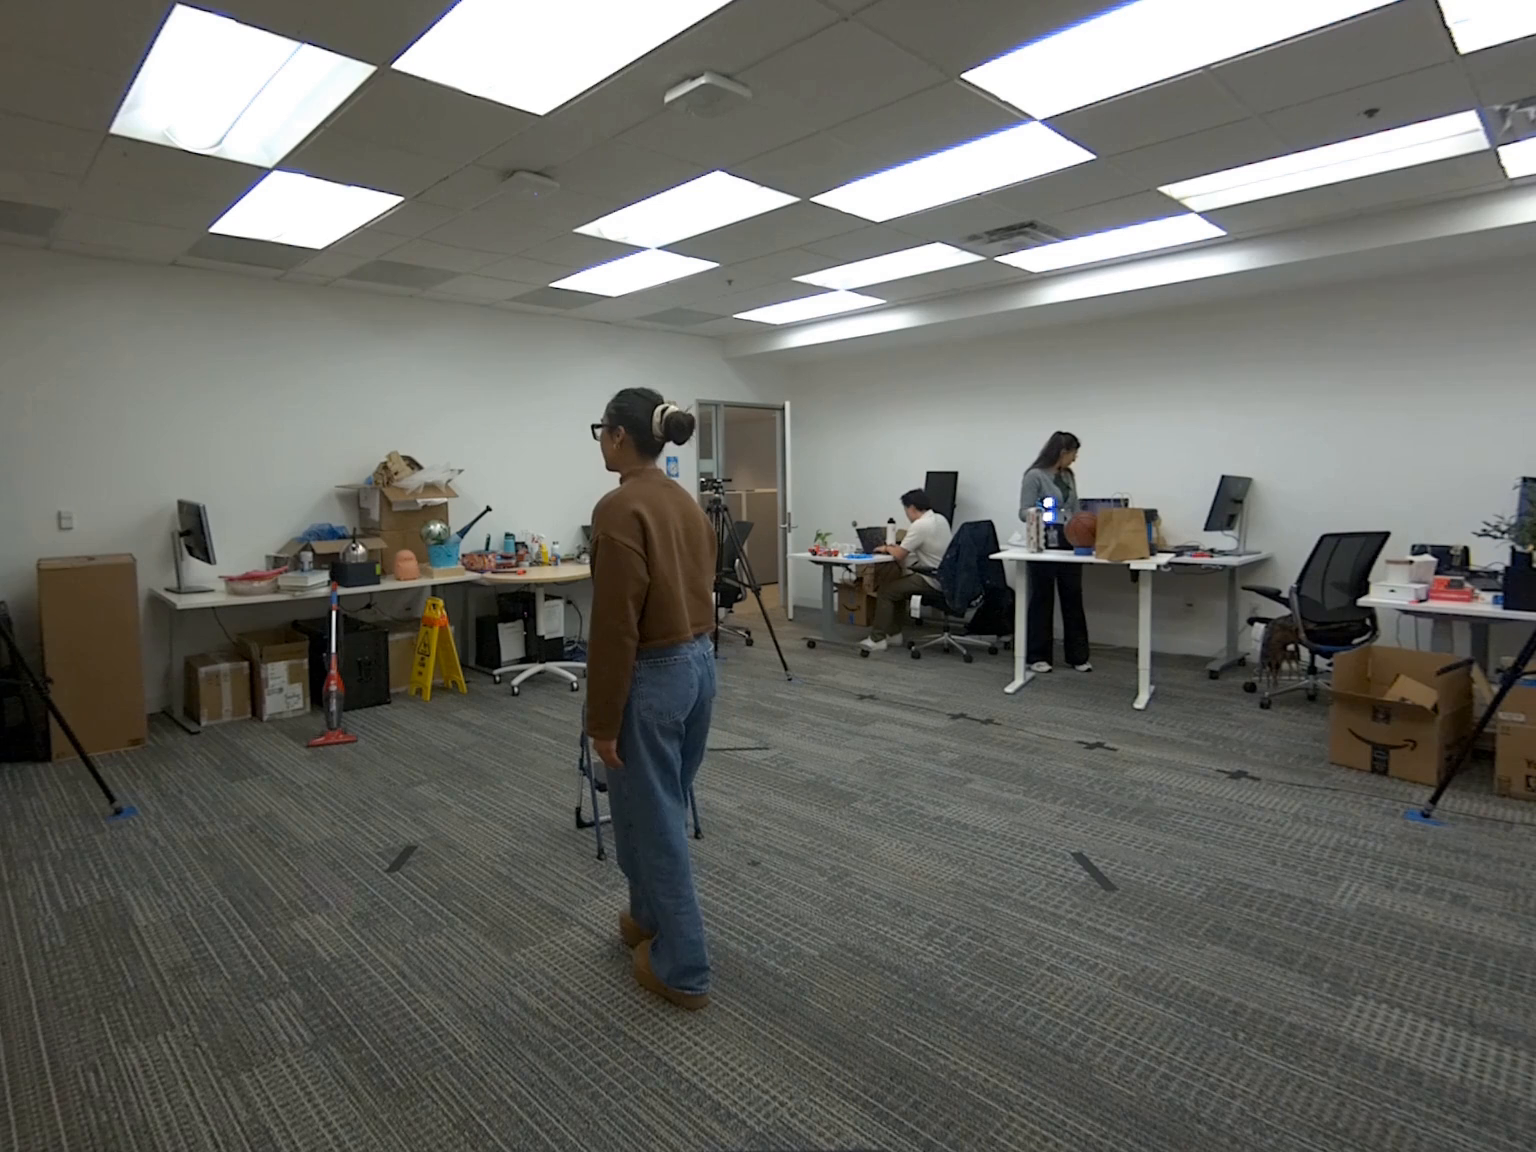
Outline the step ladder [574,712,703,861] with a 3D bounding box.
[{"bbox_3d":[-0.521,0.718,3.383,0.421,0.604,0.358,-3,5,-27],"label":"step ladder"}]
